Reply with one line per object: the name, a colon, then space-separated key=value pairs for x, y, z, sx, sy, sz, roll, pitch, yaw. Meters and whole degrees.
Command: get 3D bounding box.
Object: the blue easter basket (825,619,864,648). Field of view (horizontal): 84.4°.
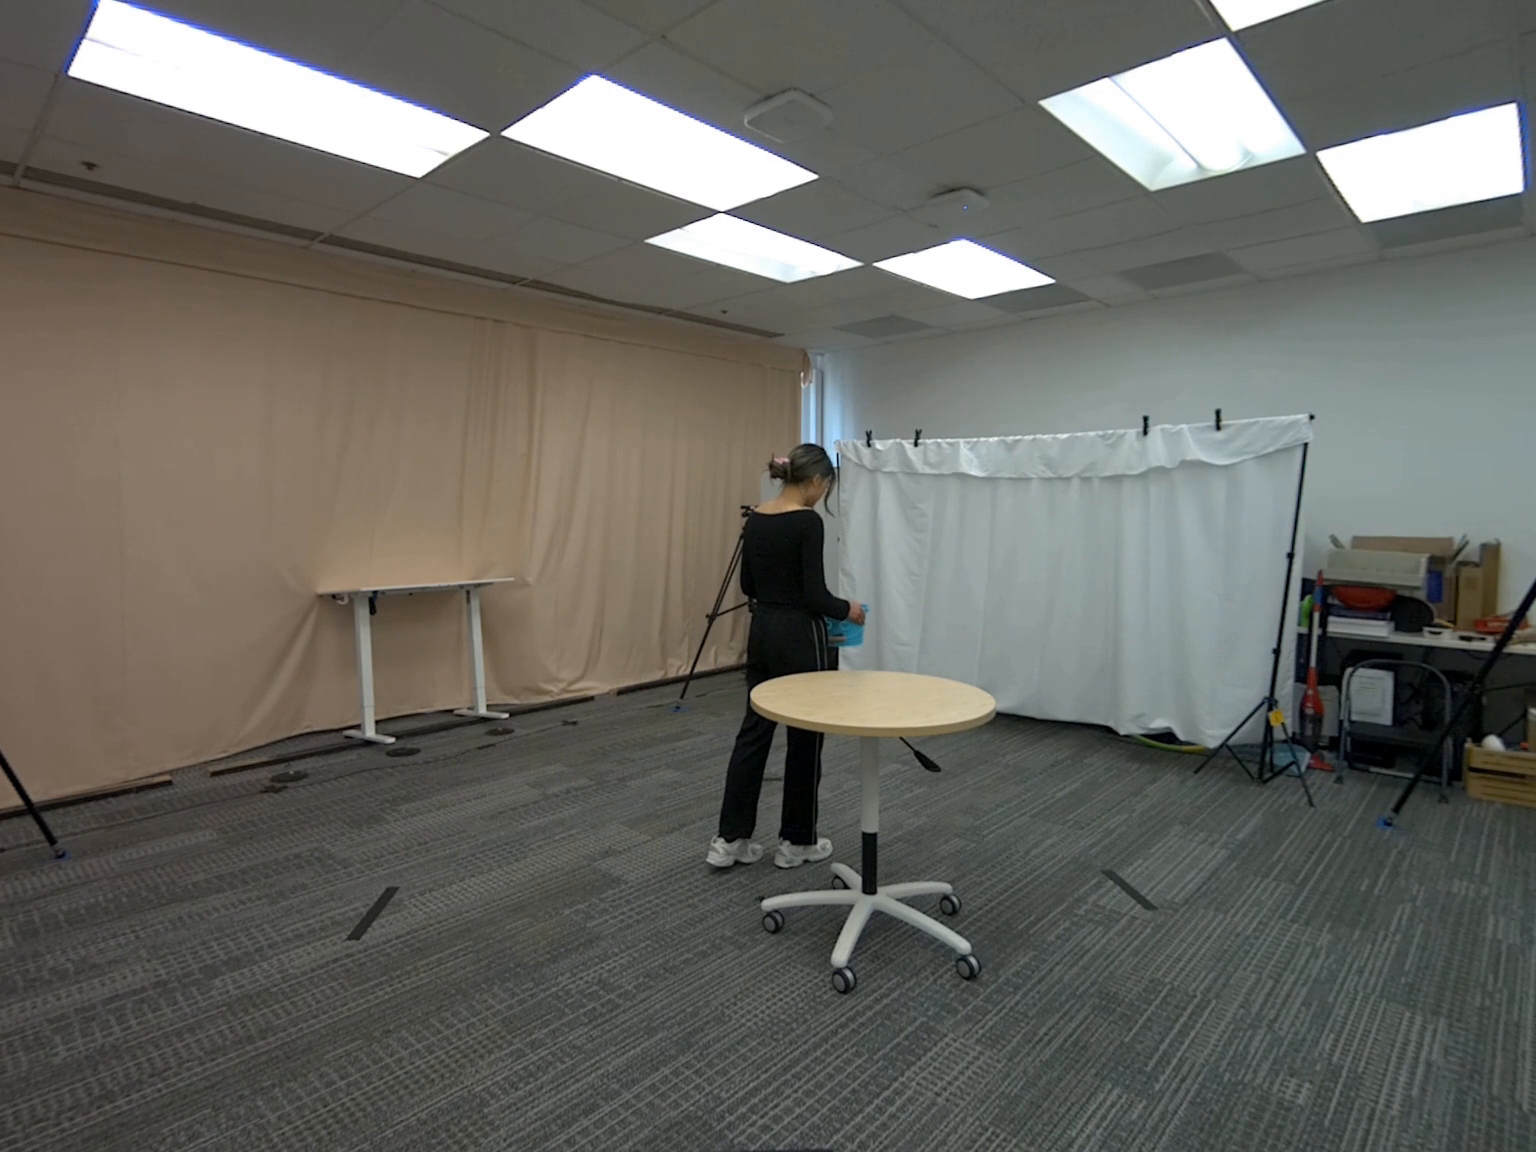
blue easter basket: x=0.294 y=0.204 z=3.443 sx=0.243 sy=0.155 sz=0.245 roll=-1 pitch=6 yaw=-2
